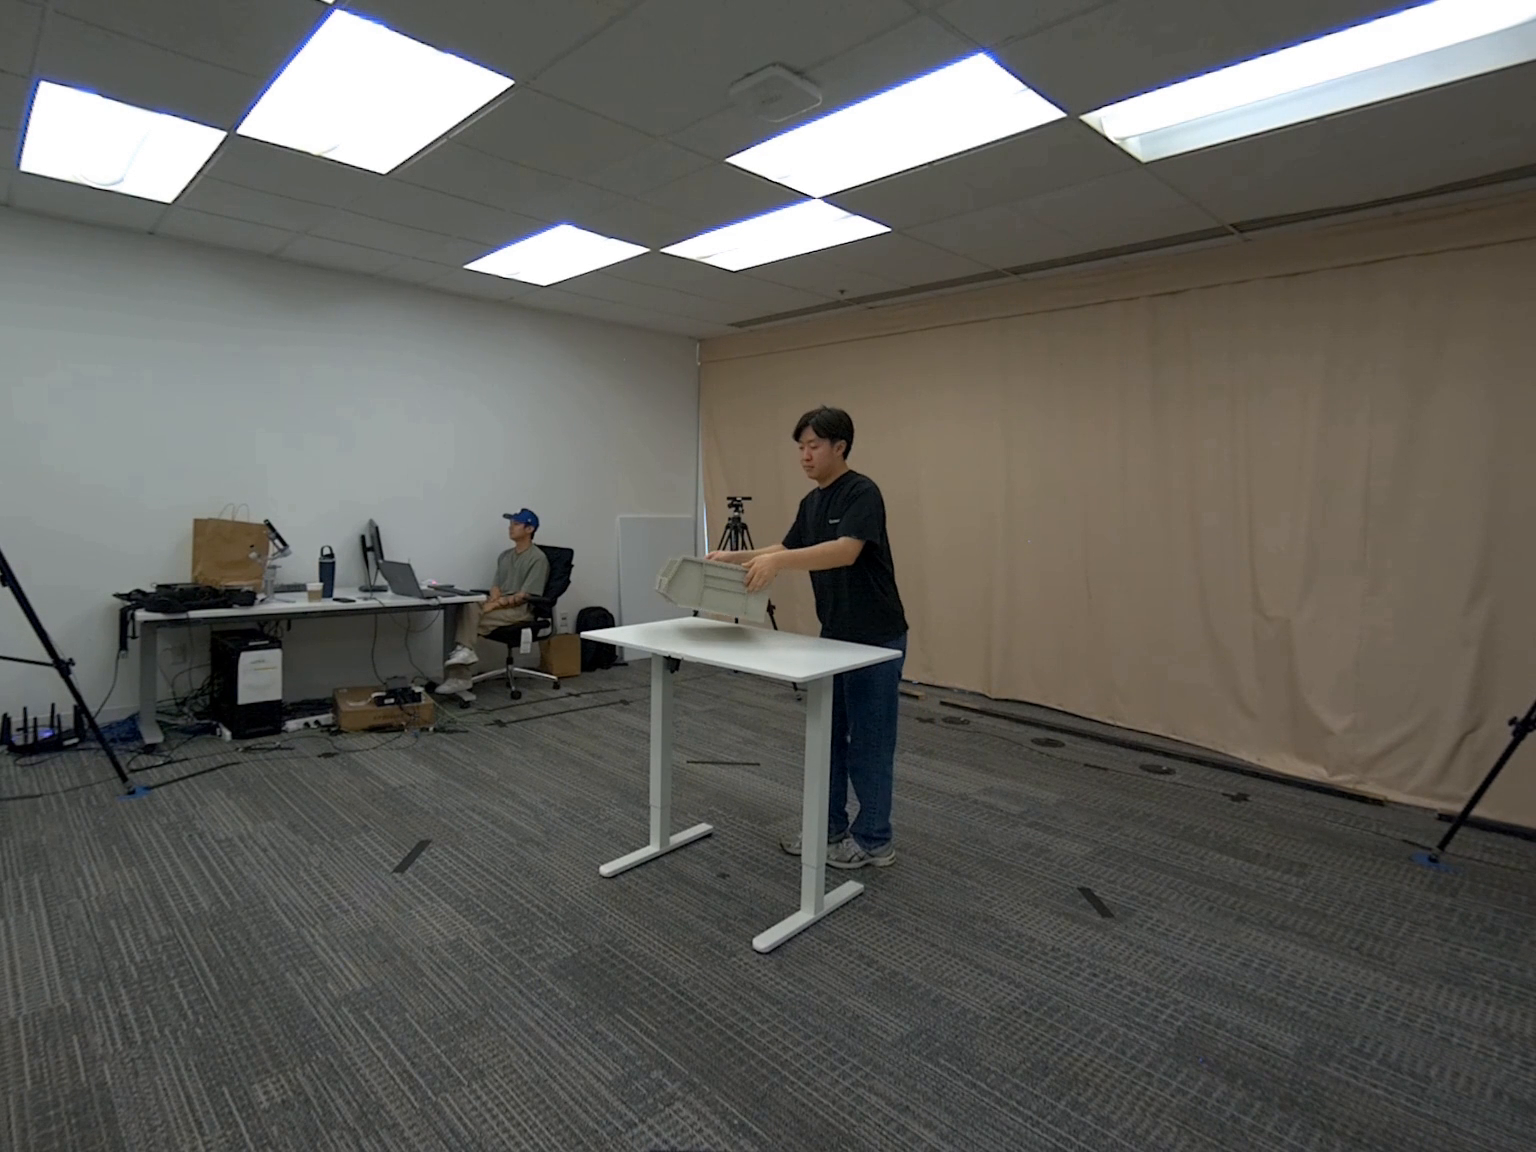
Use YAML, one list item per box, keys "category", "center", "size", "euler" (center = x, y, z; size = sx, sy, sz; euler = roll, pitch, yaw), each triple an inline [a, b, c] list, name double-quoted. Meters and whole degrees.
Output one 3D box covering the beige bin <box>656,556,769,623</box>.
- category: "beige bin"
  center: [-0.211, 0.046, 3.118]
  size: [0.374, 0.189, 0.426]
  euler: [12, -2, -11]
